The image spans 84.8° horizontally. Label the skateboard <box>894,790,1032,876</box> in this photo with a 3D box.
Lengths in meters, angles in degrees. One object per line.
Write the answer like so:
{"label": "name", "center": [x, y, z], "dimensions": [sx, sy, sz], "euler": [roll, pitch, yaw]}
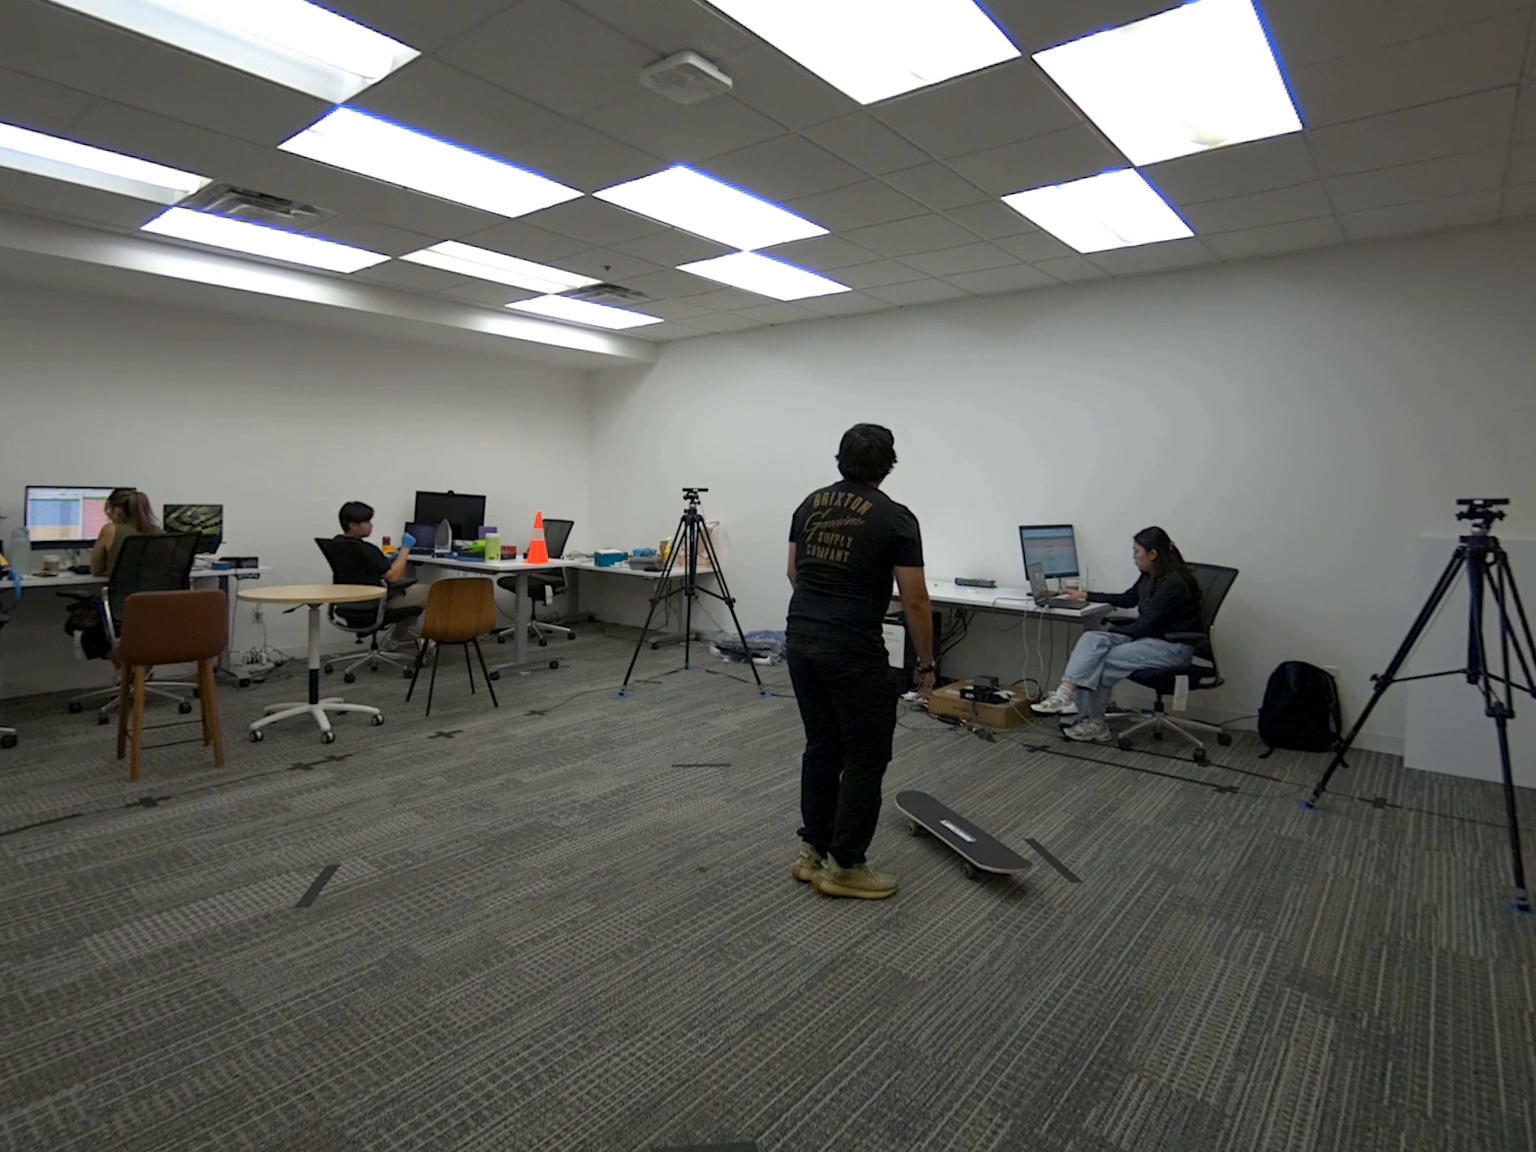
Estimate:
{"label": "skateboard", "center": [0.723, 1.012, 3.308], "dimensions": [0.190, 0.110, 0.804], "euler": [-1, 7, -20]}
